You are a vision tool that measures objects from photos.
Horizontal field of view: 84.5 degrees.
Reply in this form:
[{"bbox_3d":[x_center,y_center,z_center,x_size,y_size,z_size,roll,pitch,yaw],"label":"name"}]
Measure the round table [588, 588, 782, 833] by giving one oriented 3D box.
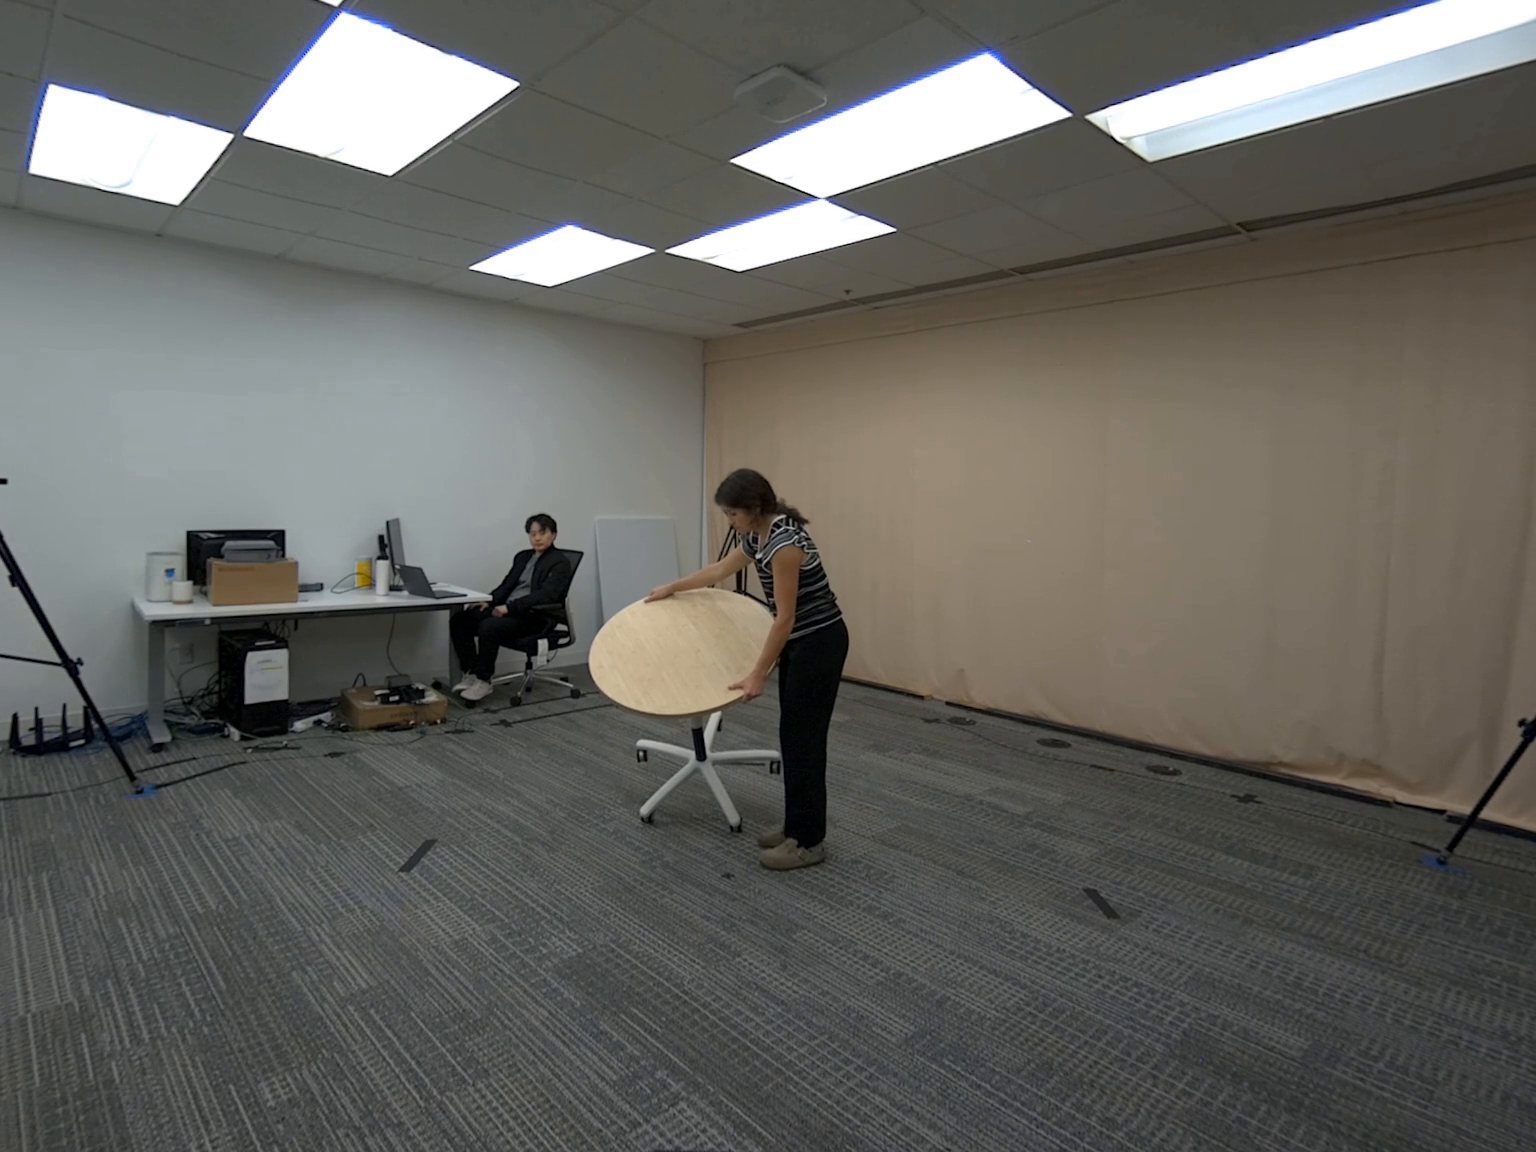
[{"bbox_3d":[-0.321,0.595,3.575,0.765,0.776,0.780,-4,34,1],"label":"round table"}]
